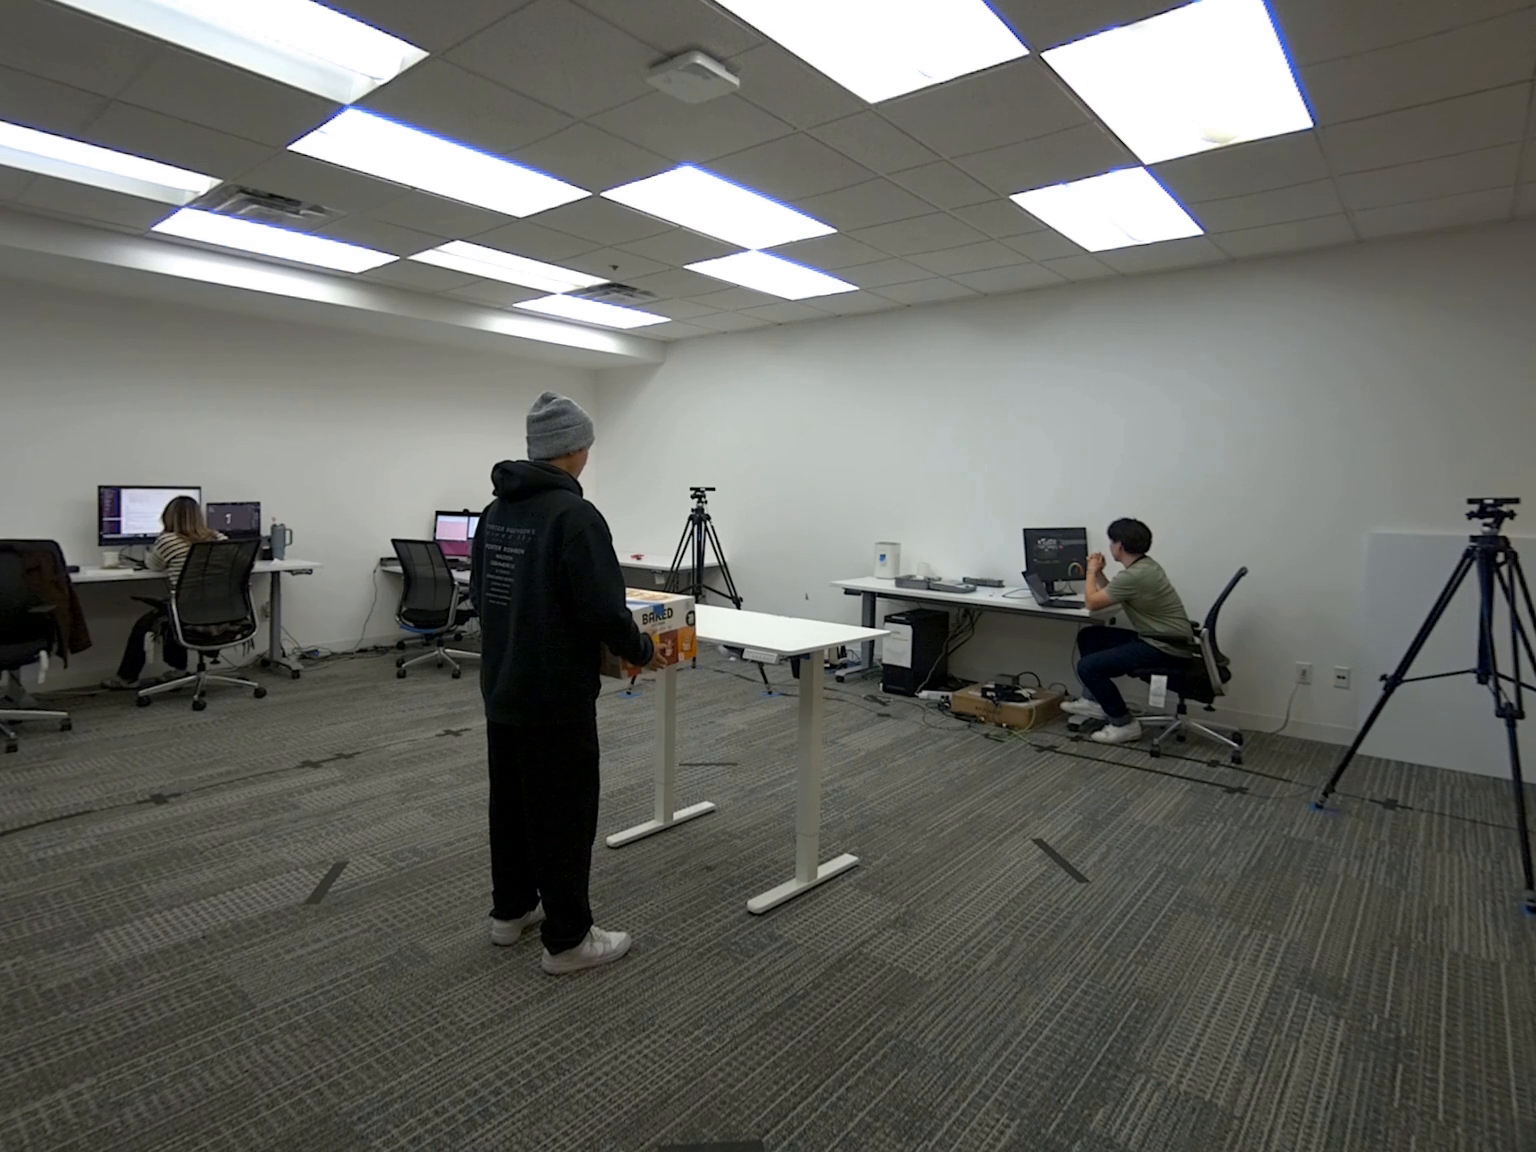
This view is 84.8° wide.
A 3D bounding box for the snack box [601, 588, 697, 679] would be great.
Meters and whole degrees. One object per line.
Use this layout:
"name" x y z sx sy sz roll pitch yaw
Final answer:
"snack box" -0.508 0.171 2.786 0.419 0.204 0.331 5 11 39
